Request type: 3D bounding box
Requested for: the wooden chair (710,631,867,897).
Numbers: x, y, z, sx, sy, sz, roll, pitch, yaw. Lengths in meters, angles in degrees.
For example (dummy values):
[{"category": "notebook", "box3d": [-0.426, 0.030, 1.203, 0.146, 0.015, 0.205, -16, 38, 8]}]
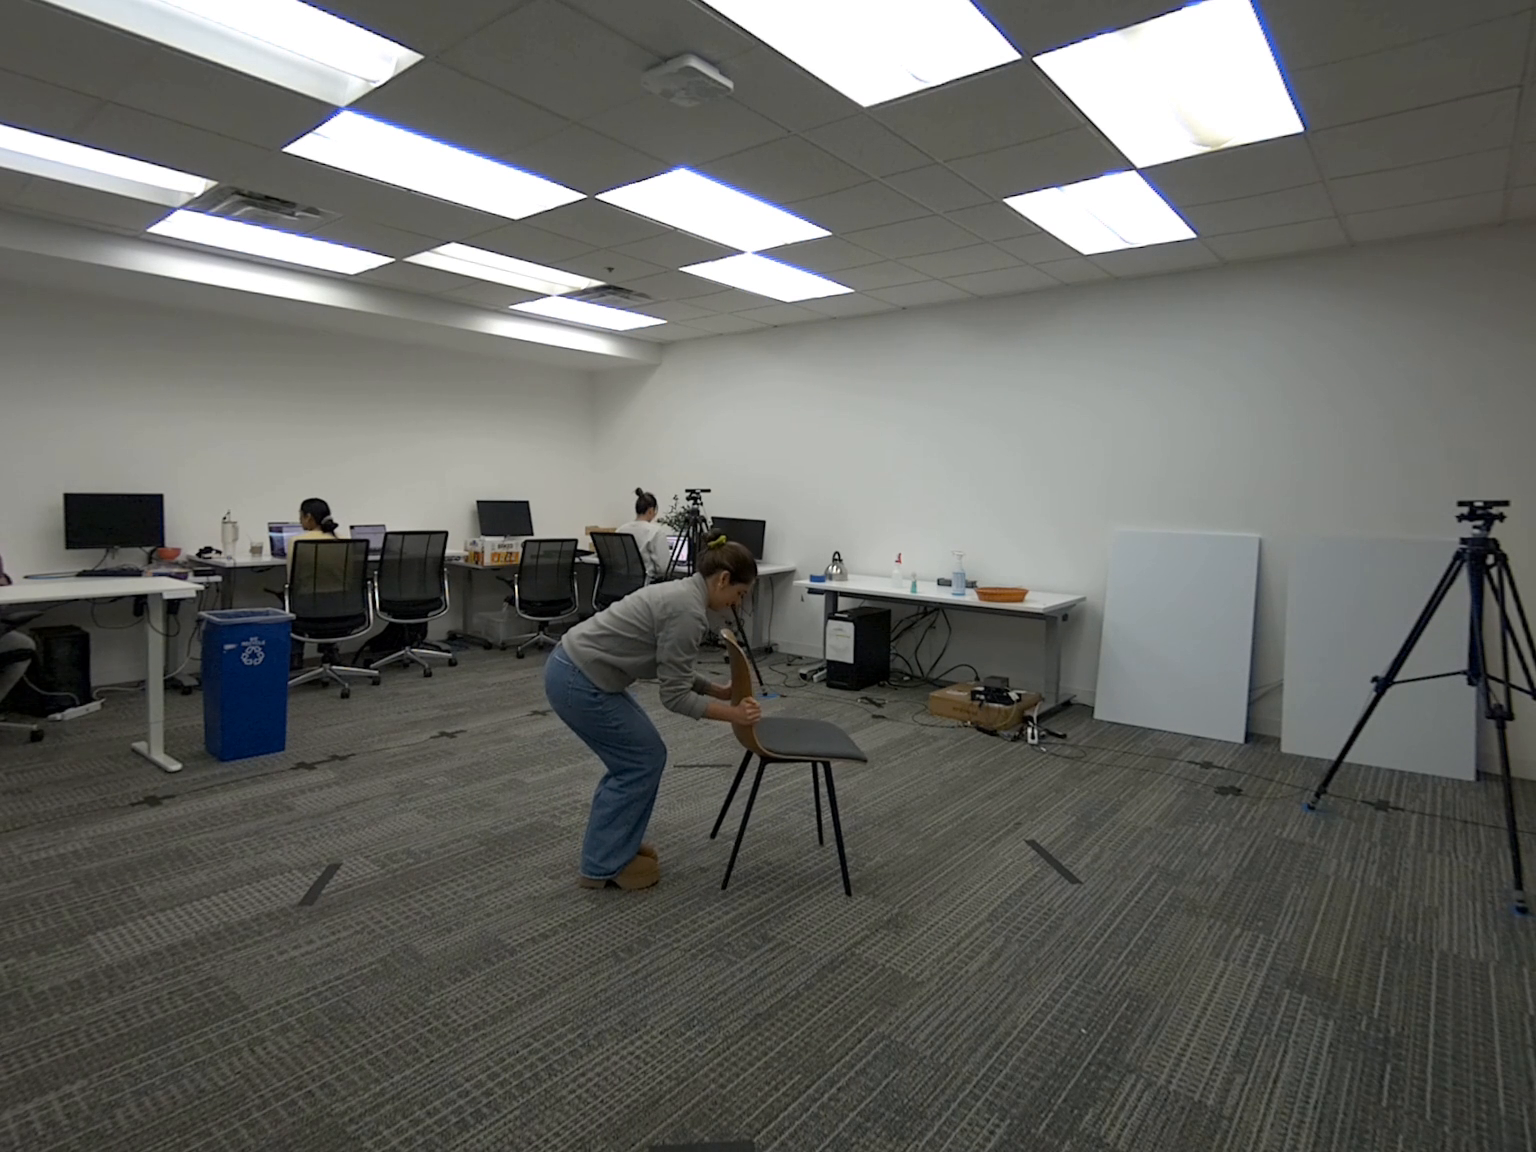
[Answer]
[{"category": "wooden chair", "box3d": [0.075, 0.641, 3.107, 0.519, 0.875, 0.483, 1, 3, -7]}]
